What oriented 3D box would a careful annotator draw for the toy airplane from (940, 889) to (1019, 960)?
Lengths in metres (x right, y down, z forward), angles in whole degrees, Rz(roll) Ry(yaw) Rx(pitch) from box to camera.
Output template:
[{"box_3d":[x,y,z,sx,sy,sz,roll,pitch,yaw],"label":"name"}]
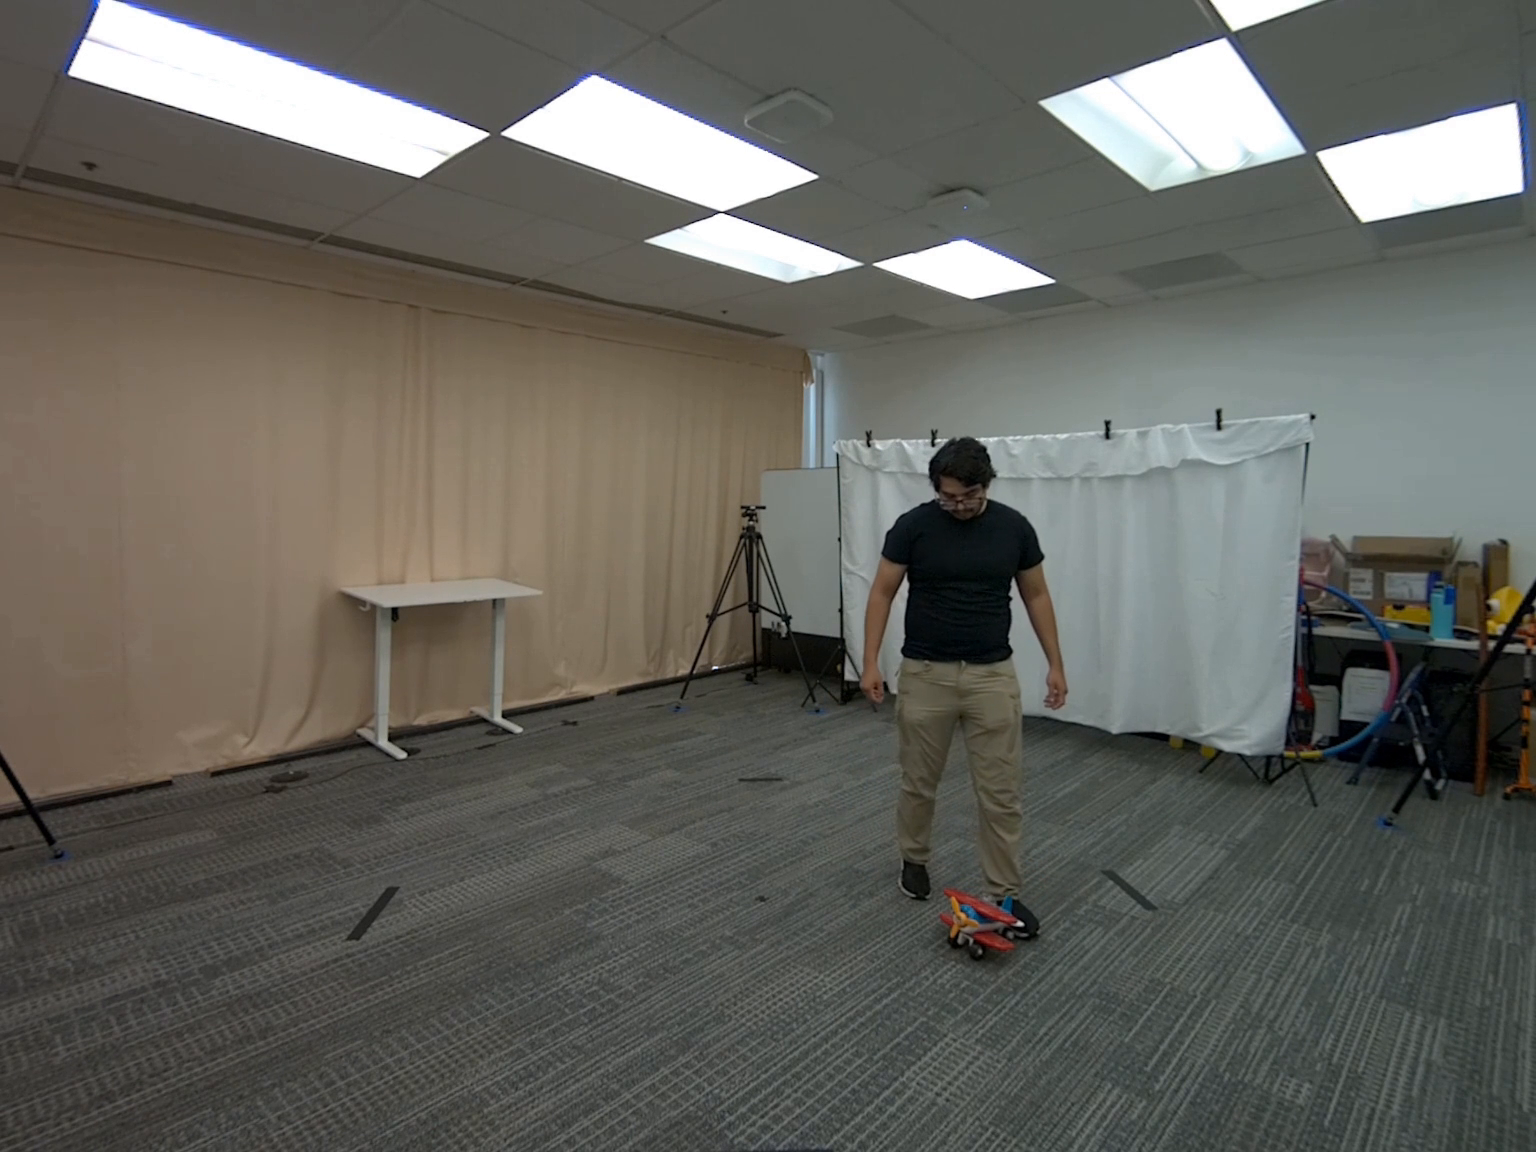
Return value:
[{"box_3d":[0.674,1.091,2.674,0.258,0.156,0.253,3,6,26],"label":"toy airplane"}]
